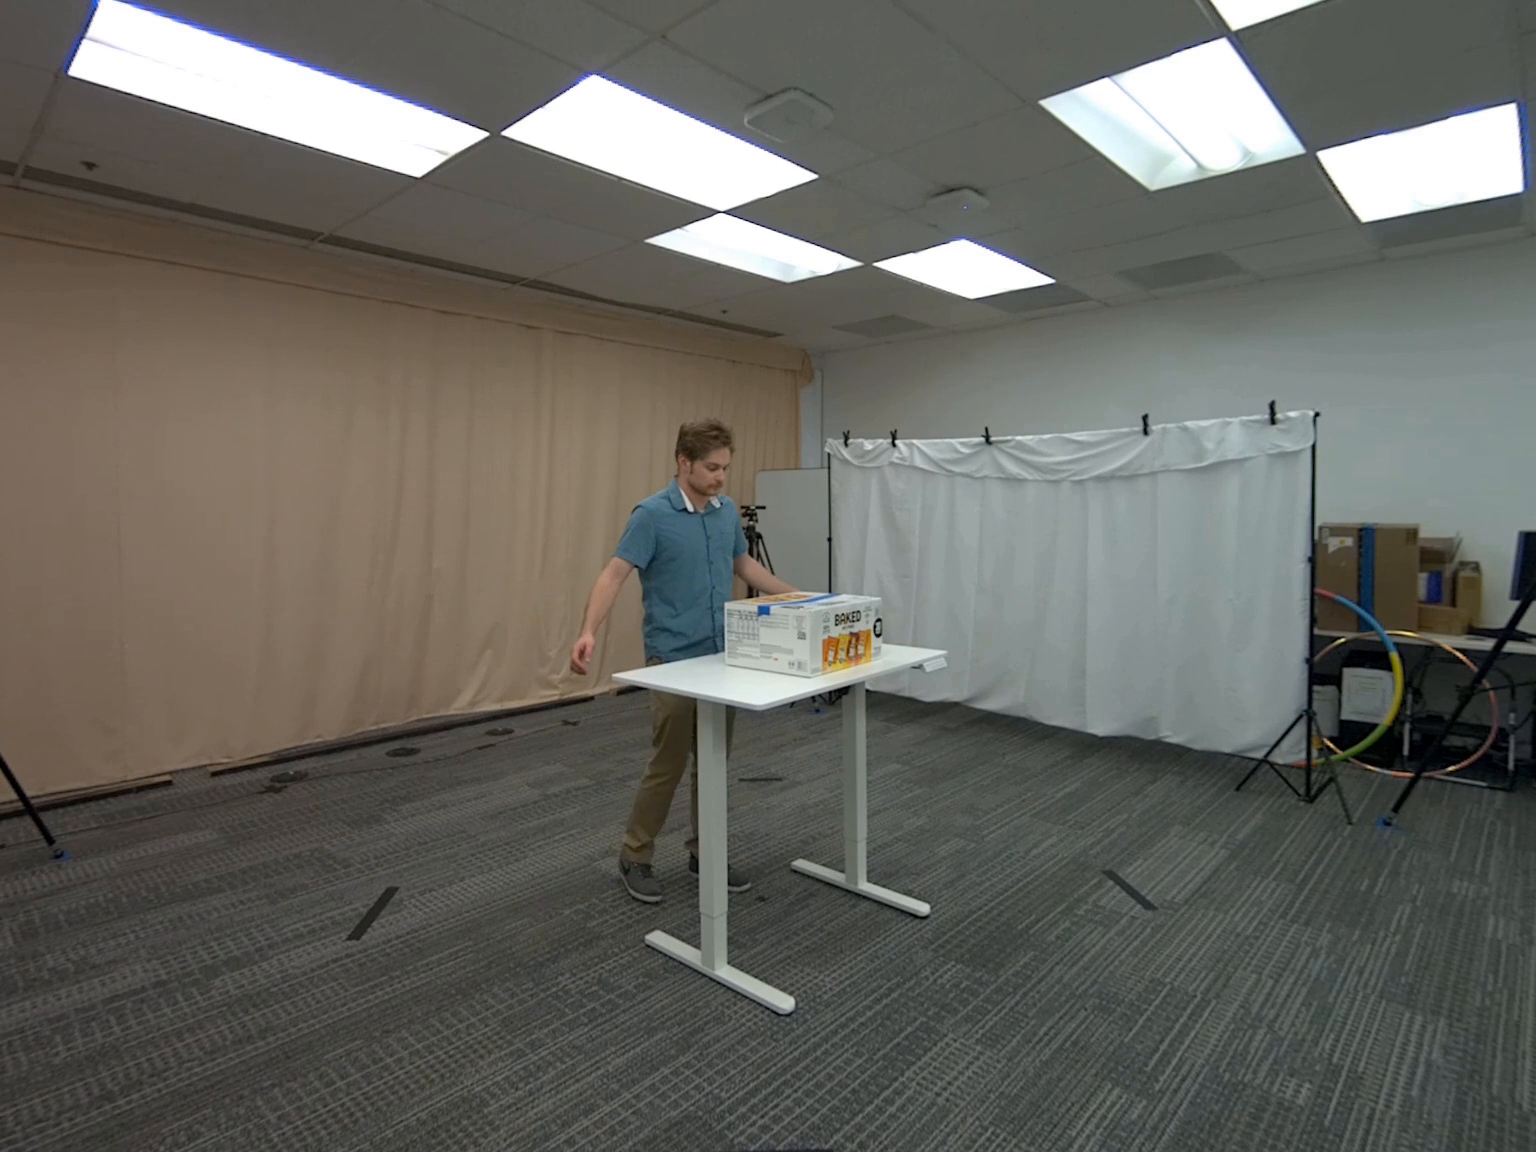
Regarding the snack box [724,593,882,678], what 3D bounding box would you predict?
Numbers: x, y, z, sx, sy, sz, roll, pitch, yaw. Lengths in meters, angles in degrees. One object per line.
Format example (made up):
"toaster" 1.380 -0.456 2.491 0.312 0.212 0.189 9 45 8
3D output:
"snack box" 0.123 0.180 2.729 0.351 0.205 0.393 2 5 40
